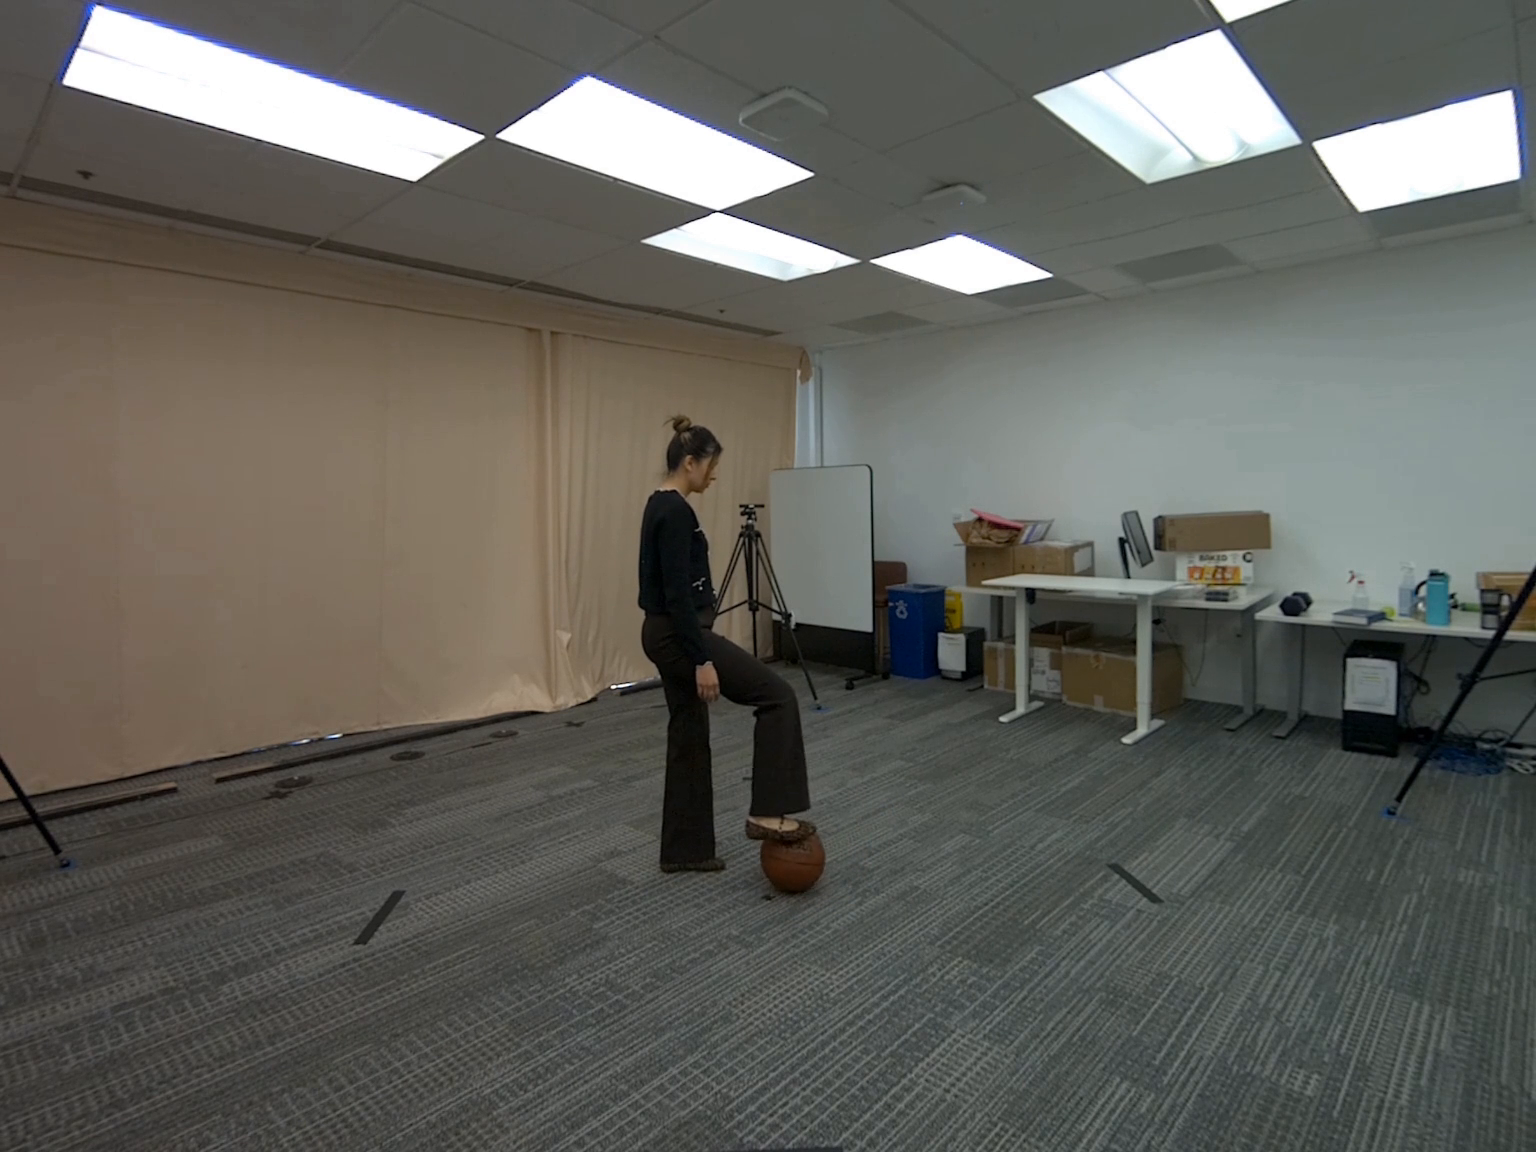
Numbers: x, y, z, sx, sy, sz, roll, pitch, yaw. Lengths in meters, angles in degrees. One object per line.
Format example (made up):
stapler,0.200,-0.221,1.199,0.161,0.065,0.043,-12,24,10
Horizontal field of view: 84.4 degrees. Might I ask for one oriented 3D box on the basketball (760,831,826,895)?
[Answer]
basketball,0.094,1.014,3.050,0.236,0.235,0.237,-1,4,-2
